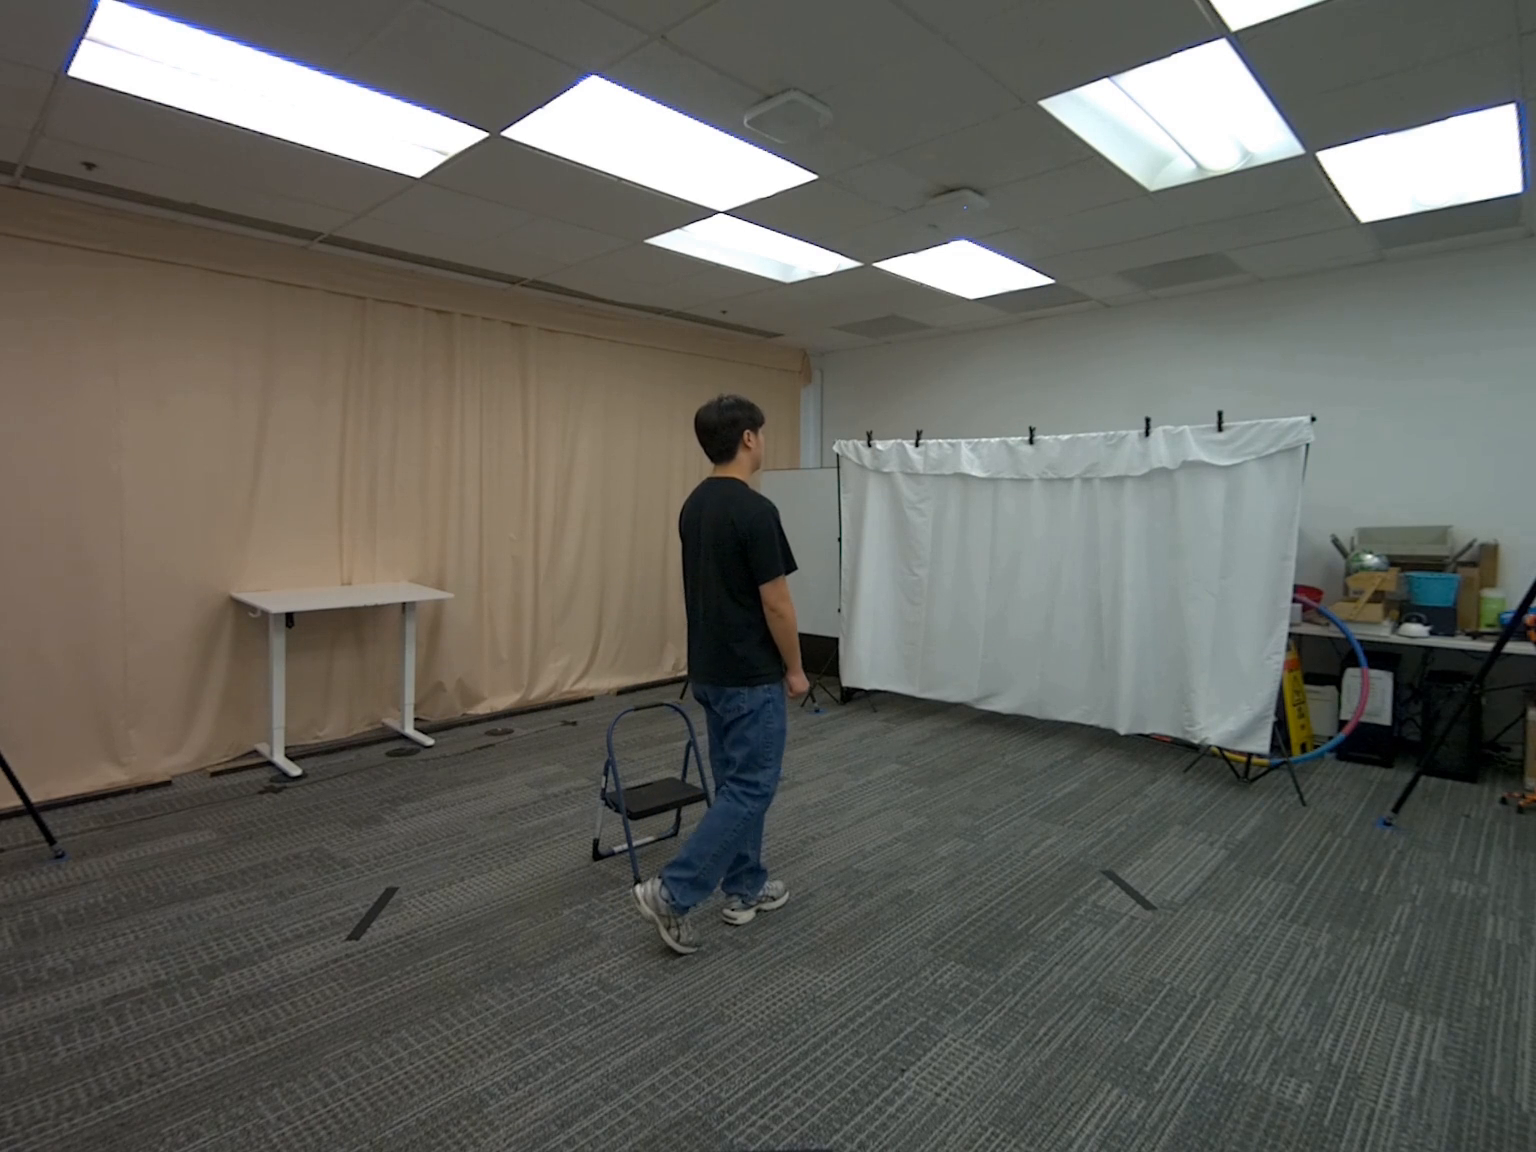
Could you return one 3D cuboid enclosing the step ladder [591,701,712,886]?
[{"bbox_3d":[-0.432,0.817,3.310,0.417,0.605,0.361,-4,4,-41],"label":"step ladder"}]
